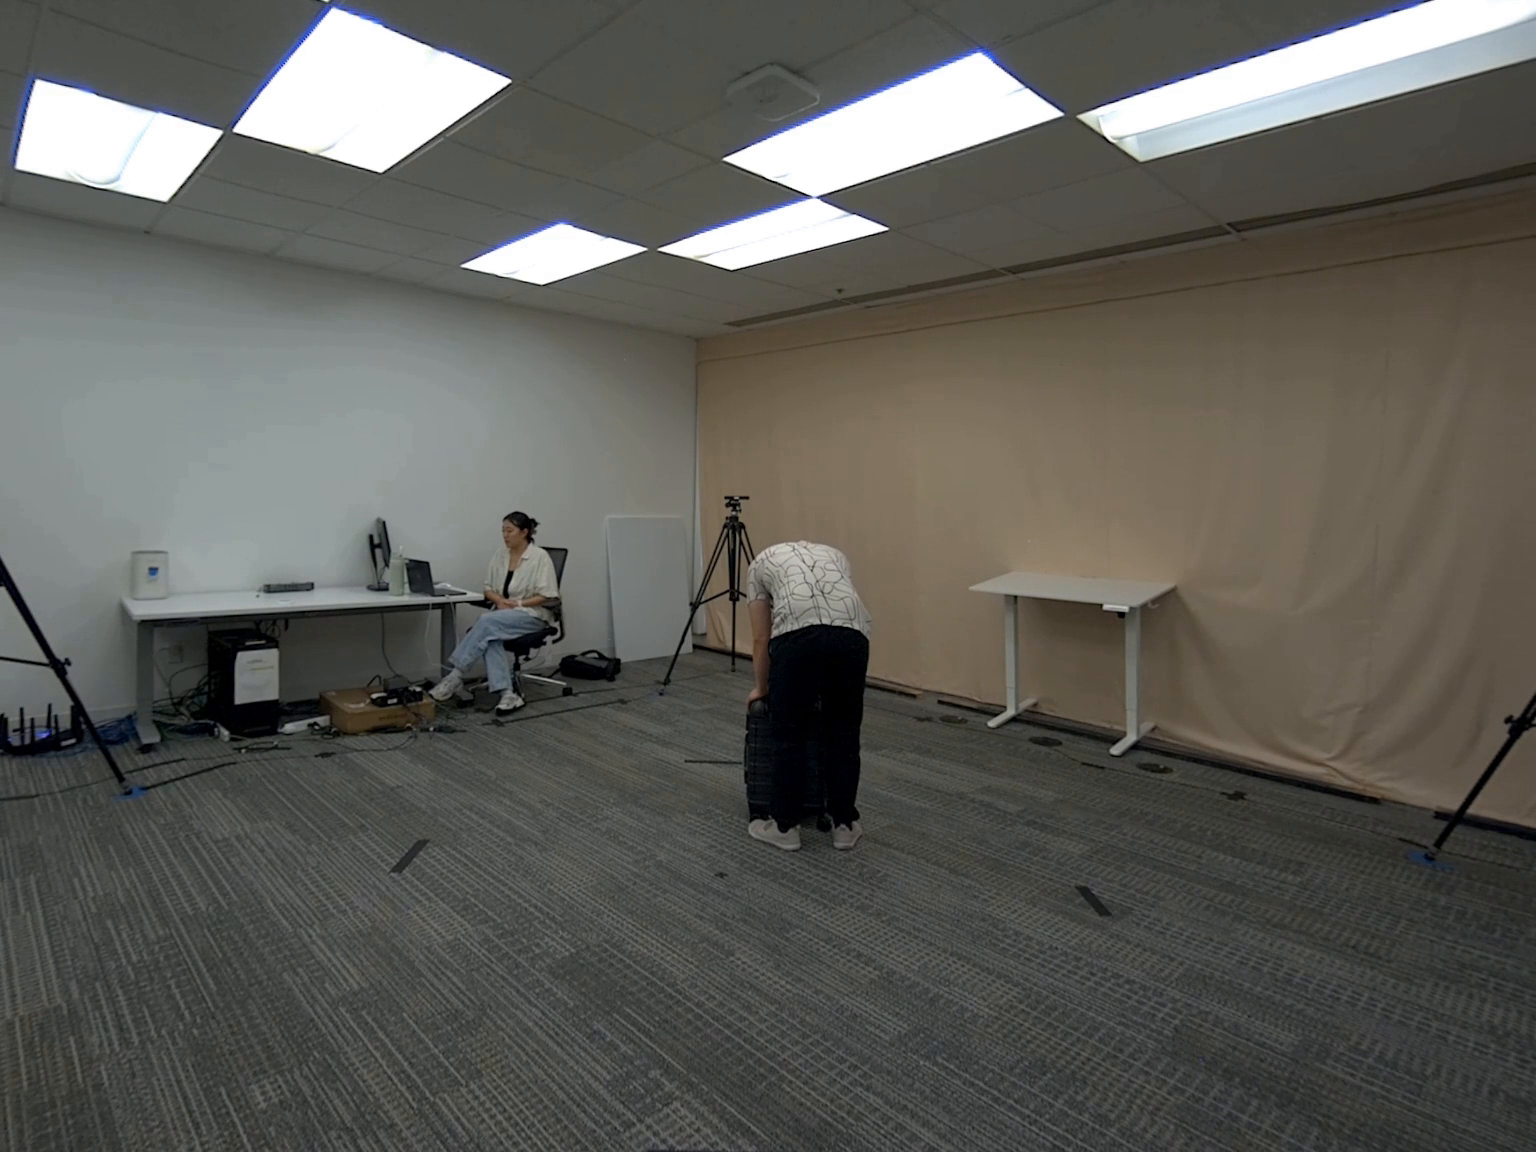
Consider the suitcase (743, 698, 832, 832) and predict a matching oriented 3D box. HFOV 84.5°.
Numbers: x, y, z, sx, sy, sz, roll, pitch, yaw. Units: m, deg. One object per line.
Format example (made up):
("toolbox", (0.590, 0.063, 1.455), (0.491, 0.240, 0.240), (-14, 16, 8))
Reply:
("suitcase", (0.082, 0.787, 3.686), (0.377, 0.549, 0.247), (1, 1, 5))
